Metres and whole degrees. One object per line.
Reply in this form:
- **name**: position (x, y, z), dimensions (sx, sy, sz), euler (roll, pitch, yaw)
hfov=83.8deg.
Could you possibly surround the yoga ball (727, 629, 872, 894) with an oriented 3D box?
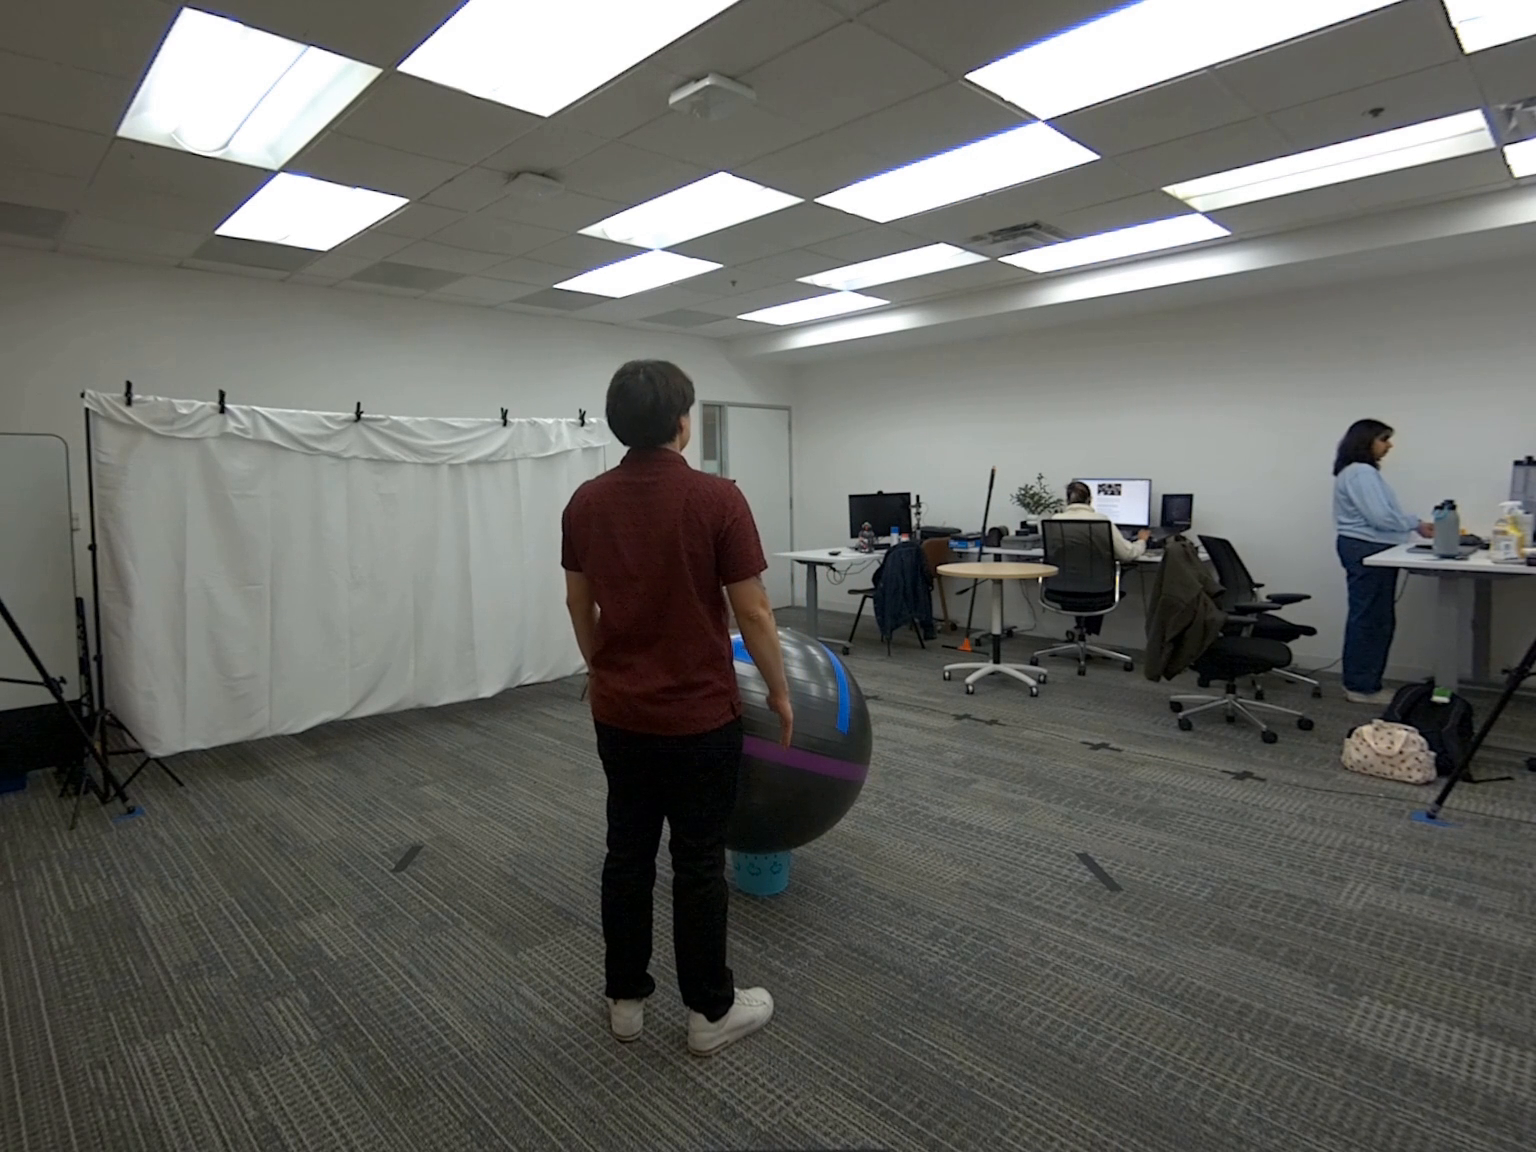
- **yoga ball**: position (-0.017, 0.558, 2.950), dimensions (0.757, 0.755, 0.762), euler (-1, 5, -2)
